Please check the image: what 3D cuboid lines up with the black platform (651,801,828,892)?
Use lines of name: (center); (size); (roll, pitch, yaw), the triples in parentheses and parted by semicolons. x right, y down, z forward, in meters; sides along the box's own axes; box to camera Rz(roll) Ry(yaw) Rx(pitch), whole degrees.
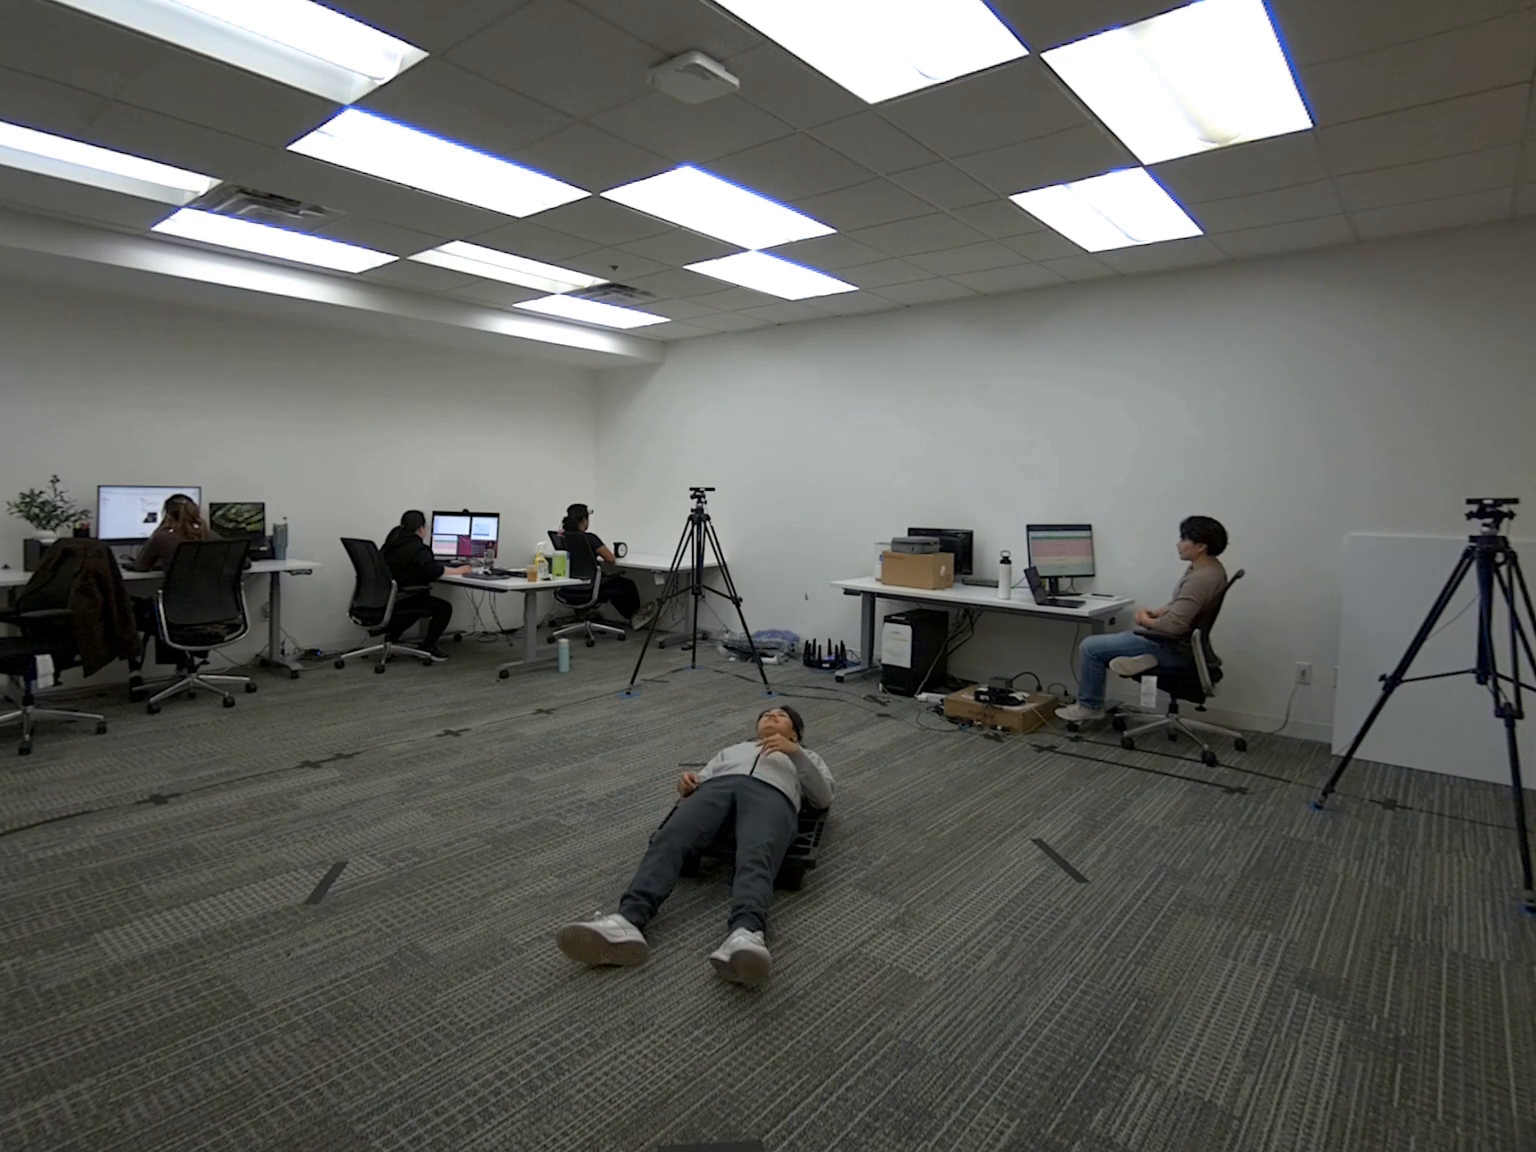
black platform: (-0.079, 0.965, 3.349); (0.613, 0.143, 0.797); (0, 4, 12)
